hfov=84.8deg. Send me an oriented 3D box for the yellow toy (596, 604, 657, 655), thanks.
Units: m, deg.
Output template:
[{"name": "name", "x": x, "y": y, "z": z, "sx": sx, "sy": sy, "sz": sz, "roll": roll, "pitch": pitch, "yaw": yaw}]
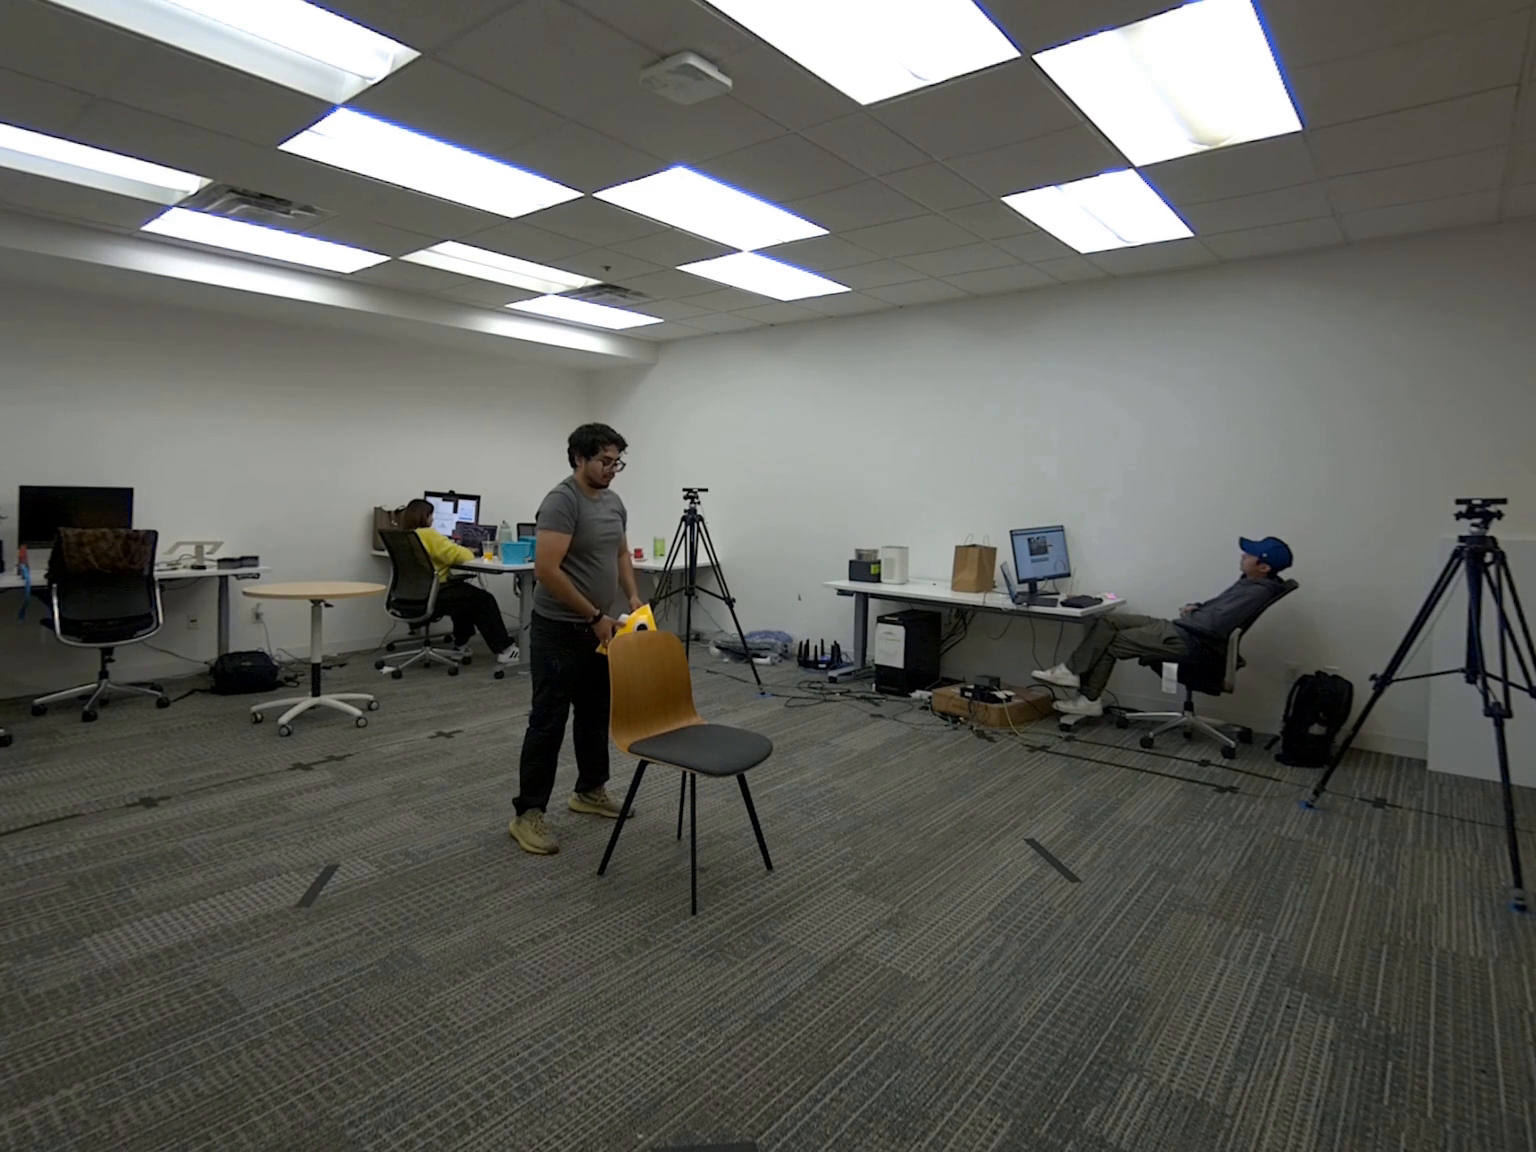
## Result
[{"name": "yellow toy", "x": -0.552, "y": 0.212, "z": 3.355, "sx": 0.212, "sy": 0.231, "sz": 0.186, "roll": 14, "pitch": -3, "yaw": 34}]
